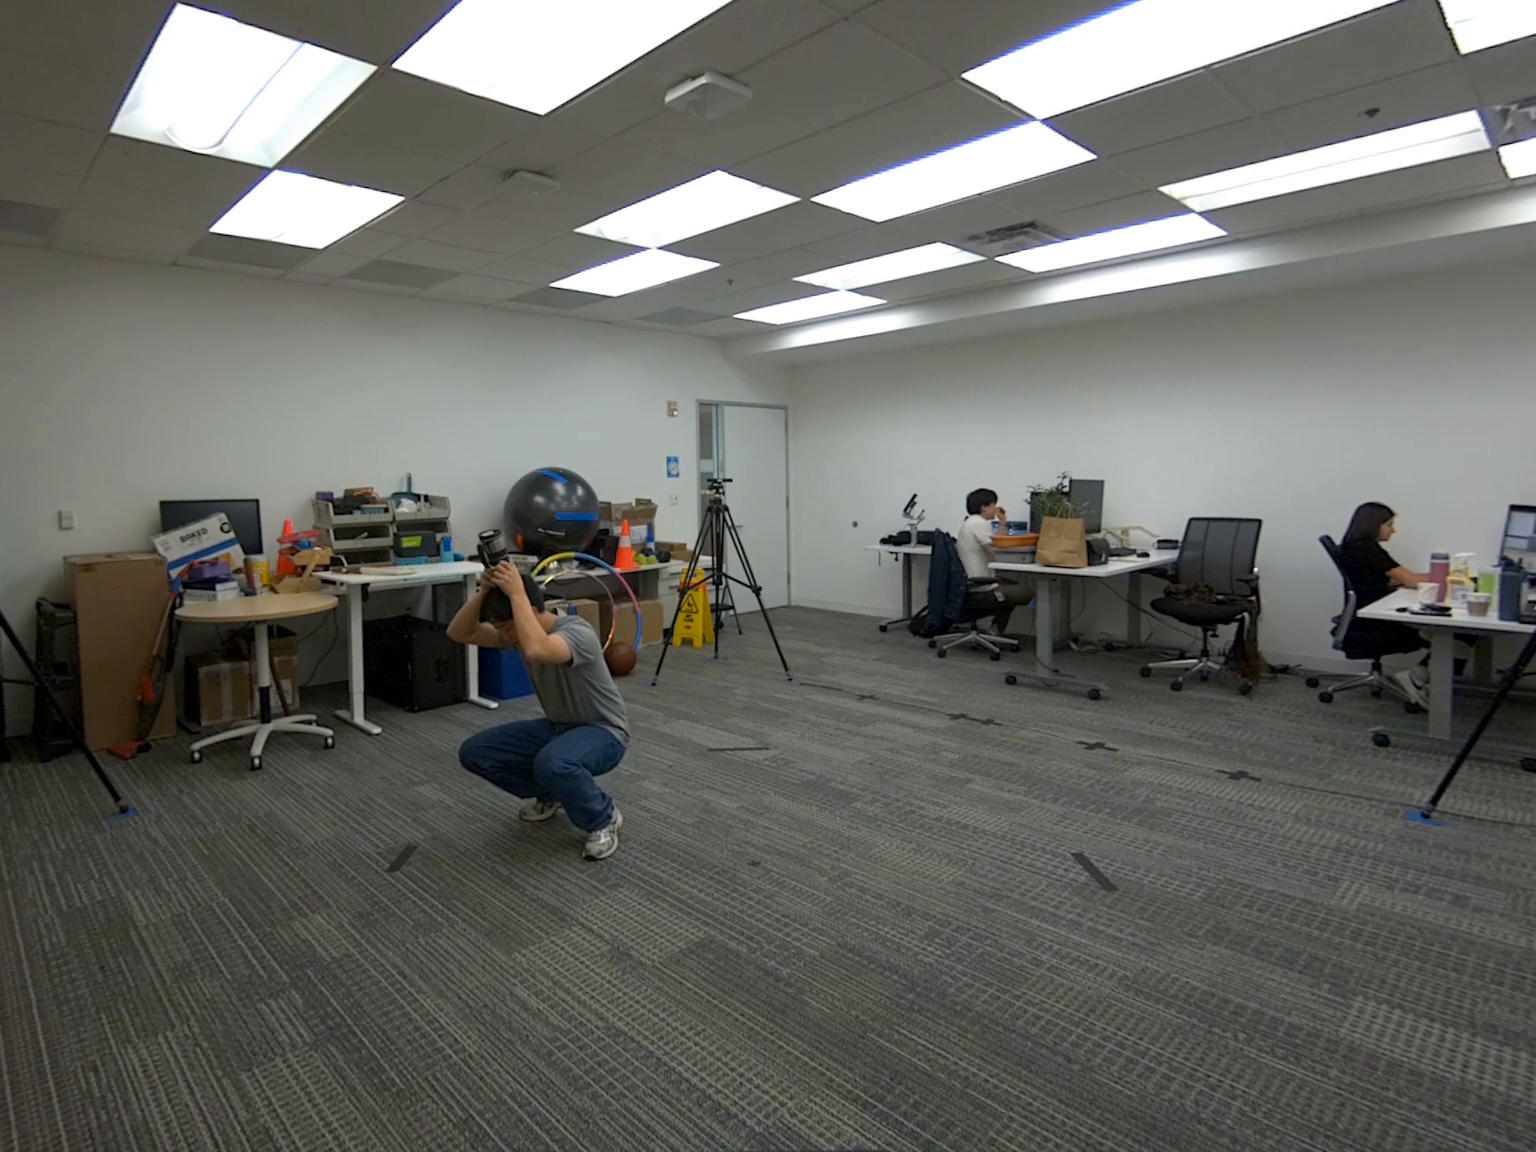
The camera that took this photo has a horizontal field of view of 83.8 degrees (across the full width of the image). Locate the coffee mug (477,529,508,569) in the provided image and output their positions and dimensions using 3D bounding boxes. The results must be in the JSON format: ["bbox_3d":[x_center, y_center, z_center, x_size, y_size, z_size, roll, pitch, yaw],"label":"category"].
[{"bbox_3d":[-1.009,-0.062,3.121,0.090,0.199,0.120,4,21,35],"label":"coffee mug"}]
